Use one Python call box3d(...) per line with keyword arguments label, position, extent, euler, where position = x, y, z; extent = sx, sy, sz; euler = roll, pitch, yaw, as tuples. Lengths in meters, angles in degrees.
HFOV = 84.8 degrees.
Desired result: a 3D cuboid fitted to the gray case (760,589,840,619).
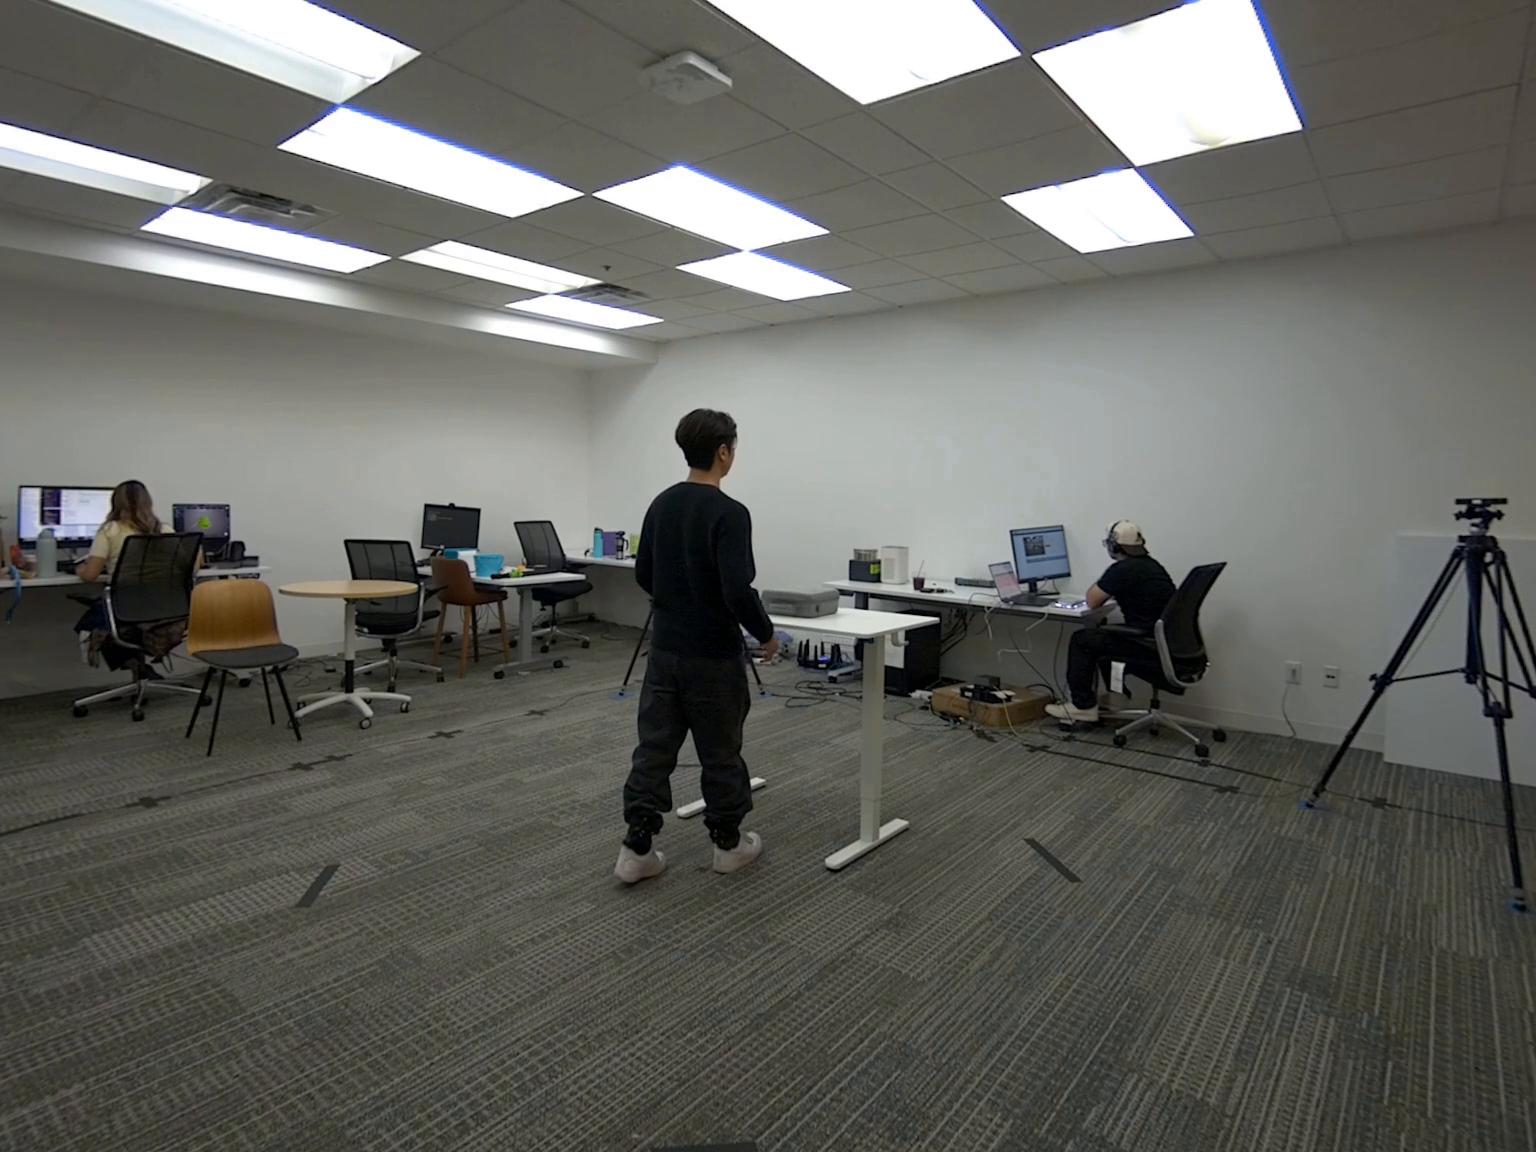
box3d(label="gray case", position=(0.126, 0.102, 3.531), extent=(0.265, 0.104, 0.253), euler=(6, 7, 34))
